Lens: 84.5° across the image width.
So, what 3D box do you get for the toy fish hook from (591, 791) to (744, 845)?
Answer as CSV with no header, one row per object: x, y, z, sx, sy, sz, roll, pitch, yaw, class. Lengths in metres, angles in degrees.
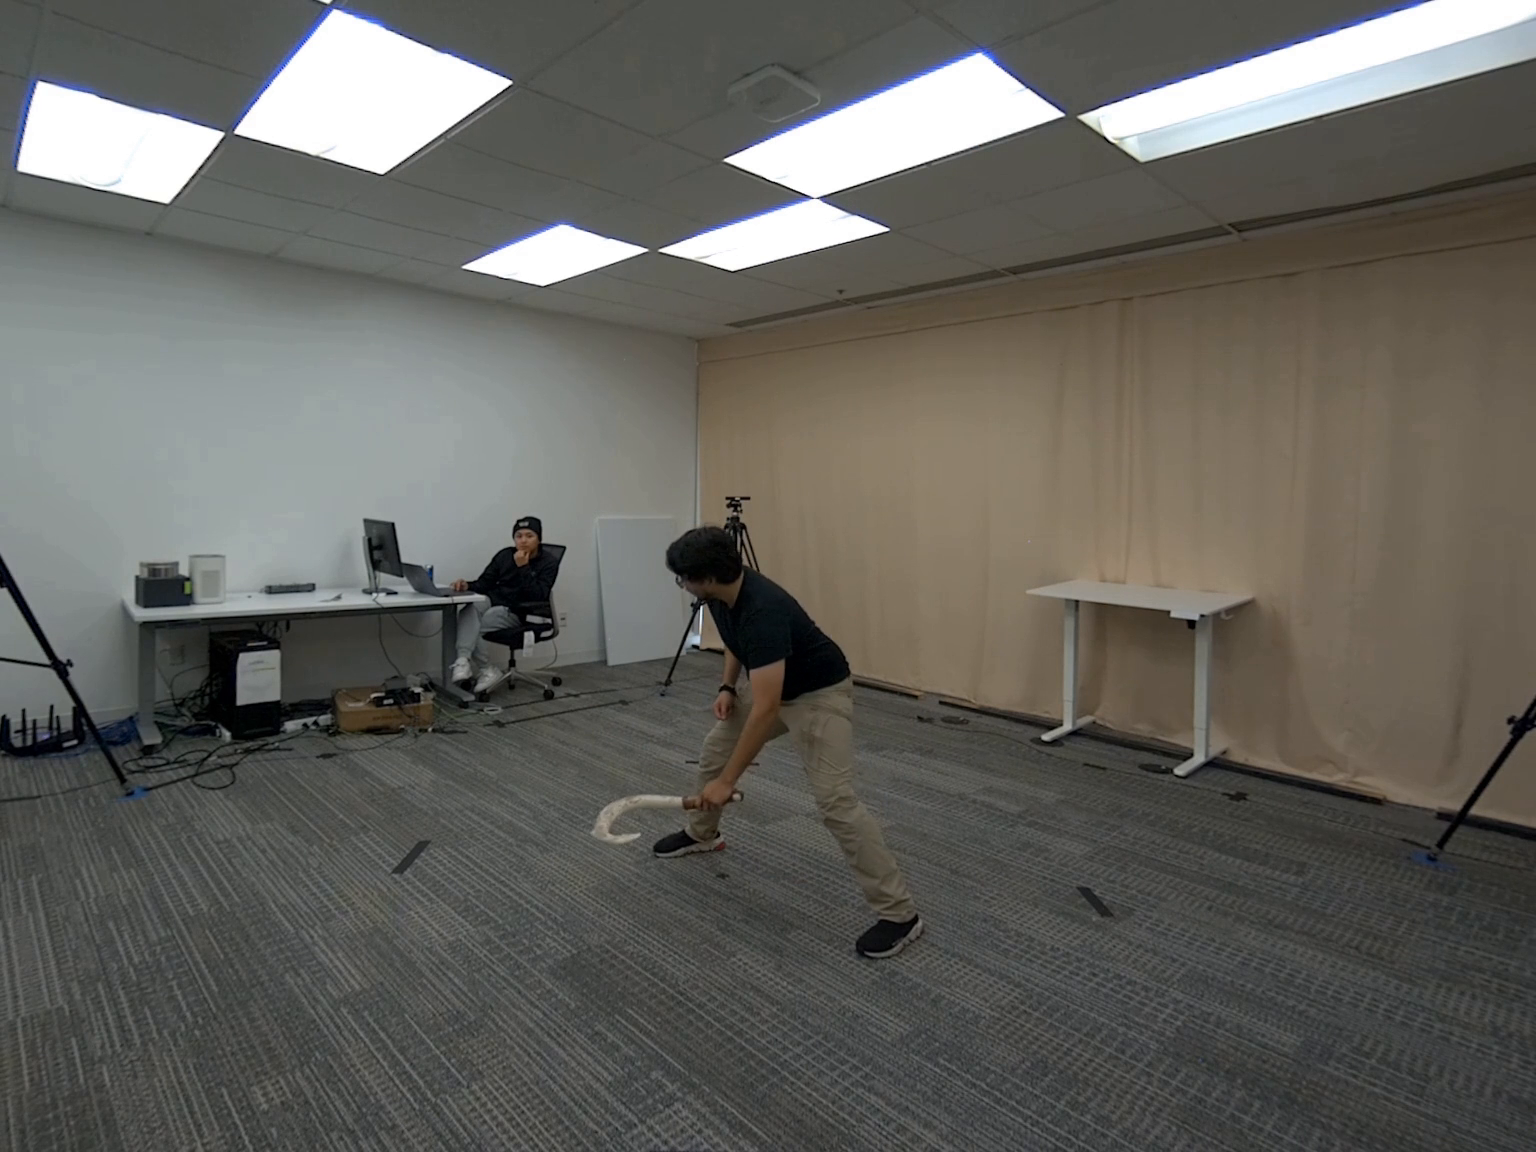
-0.328,0.769,2.666,0.511,0.047,0.227,-12,24,16,toy fish hook
